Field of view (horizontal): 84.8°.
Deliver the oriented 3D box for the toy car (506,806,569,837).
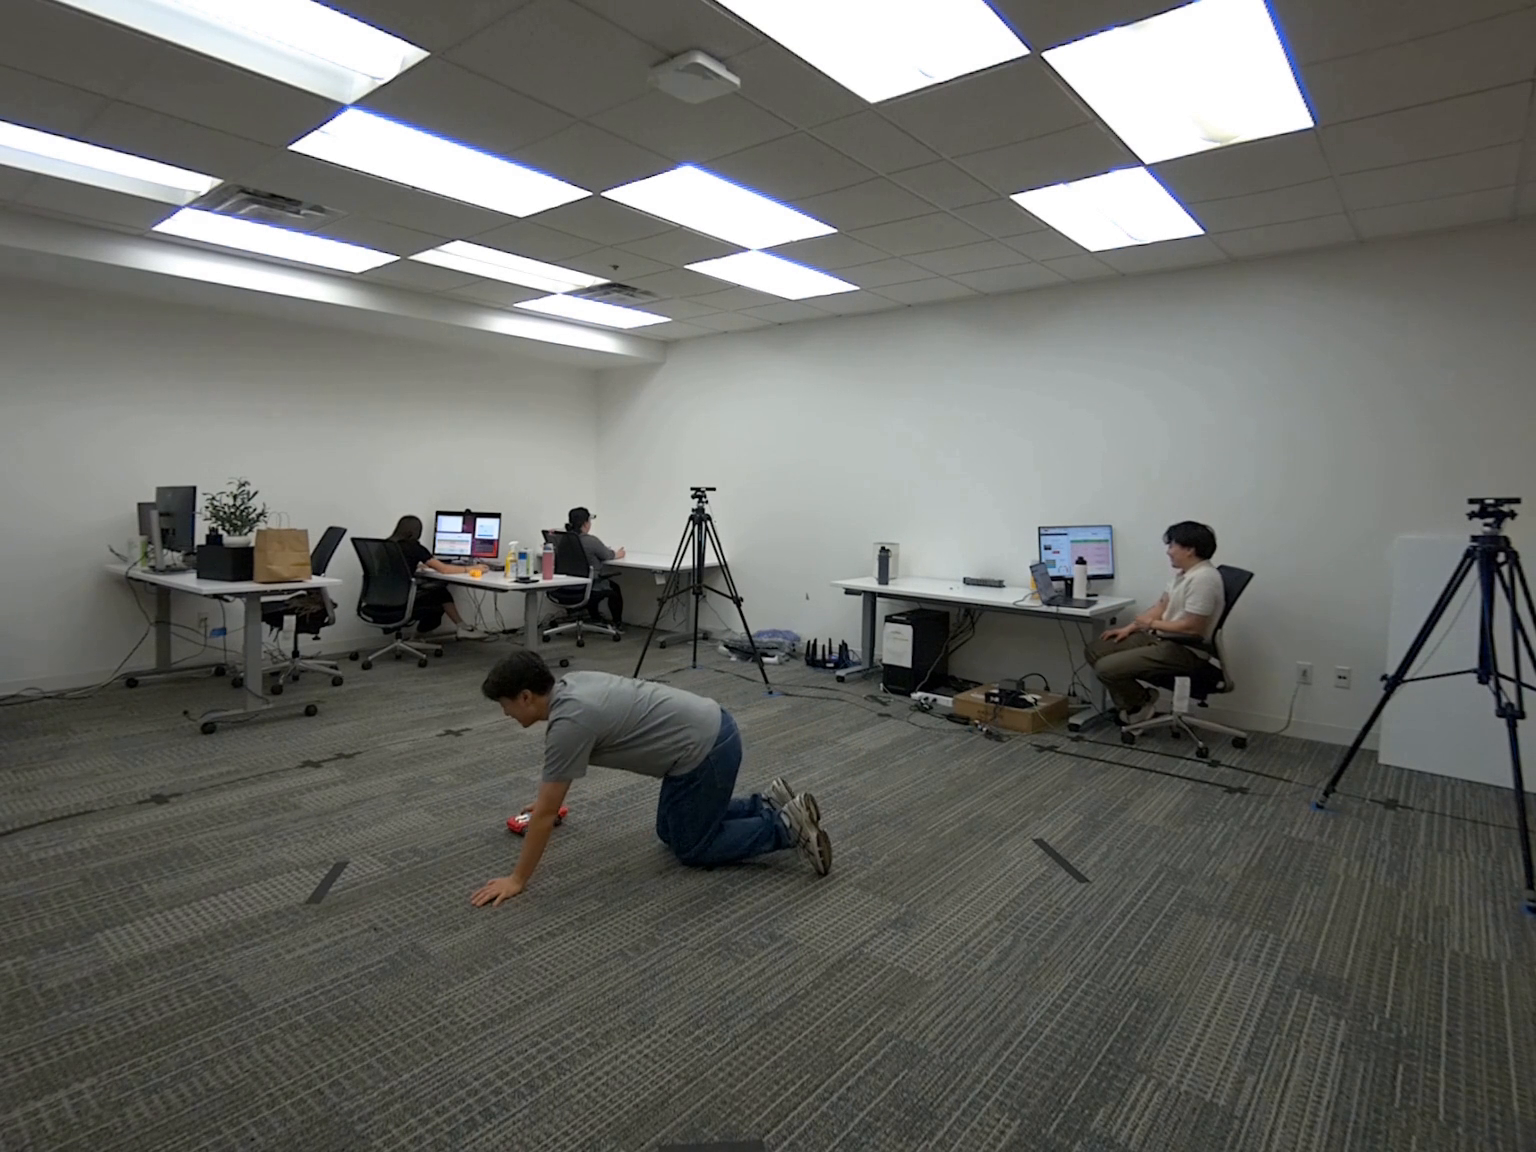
[{"bbox_3d":[-0.959,0.990,3.474,0.249,0.082,0.135,-17,15,-42],"label":"toy car"}]
